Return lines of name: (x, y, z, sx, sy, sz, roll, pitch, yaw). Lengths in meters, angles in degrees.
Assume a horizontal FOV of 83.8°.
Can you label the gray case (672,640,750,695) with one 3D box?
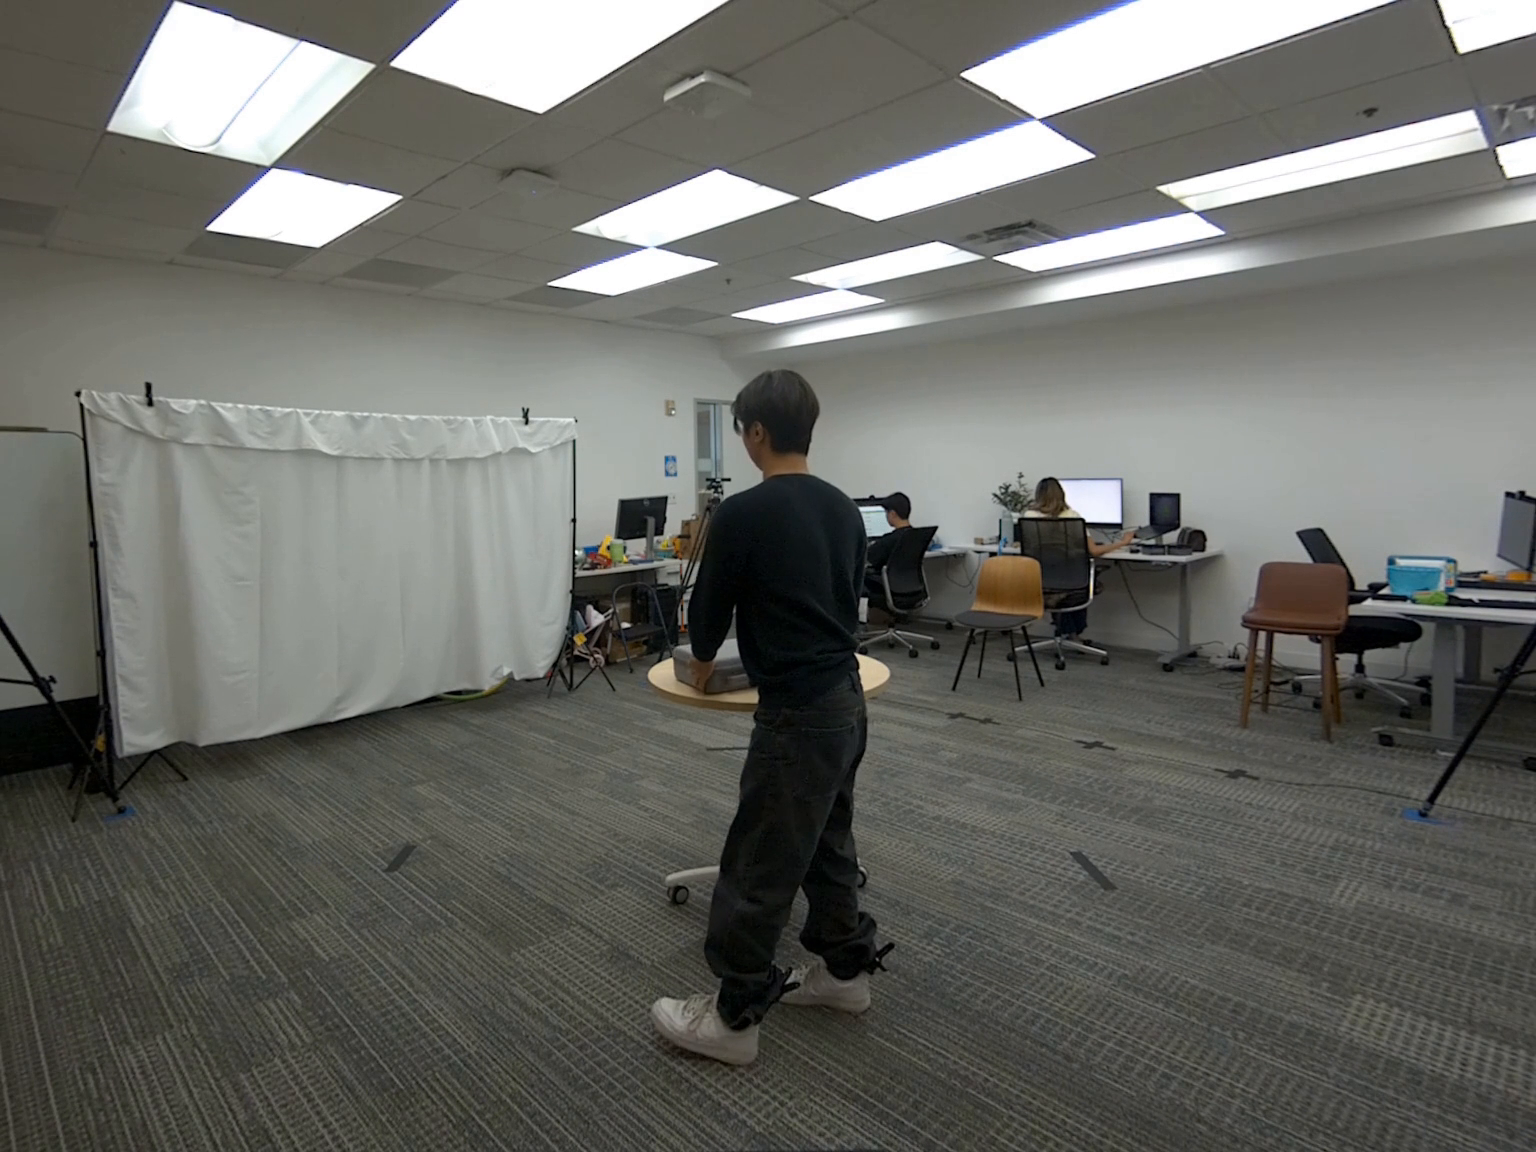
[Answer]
gray case: (-0.120, 0.269, 2.594, 0.251, 0.104, 0.268, -4, 7, -29)
